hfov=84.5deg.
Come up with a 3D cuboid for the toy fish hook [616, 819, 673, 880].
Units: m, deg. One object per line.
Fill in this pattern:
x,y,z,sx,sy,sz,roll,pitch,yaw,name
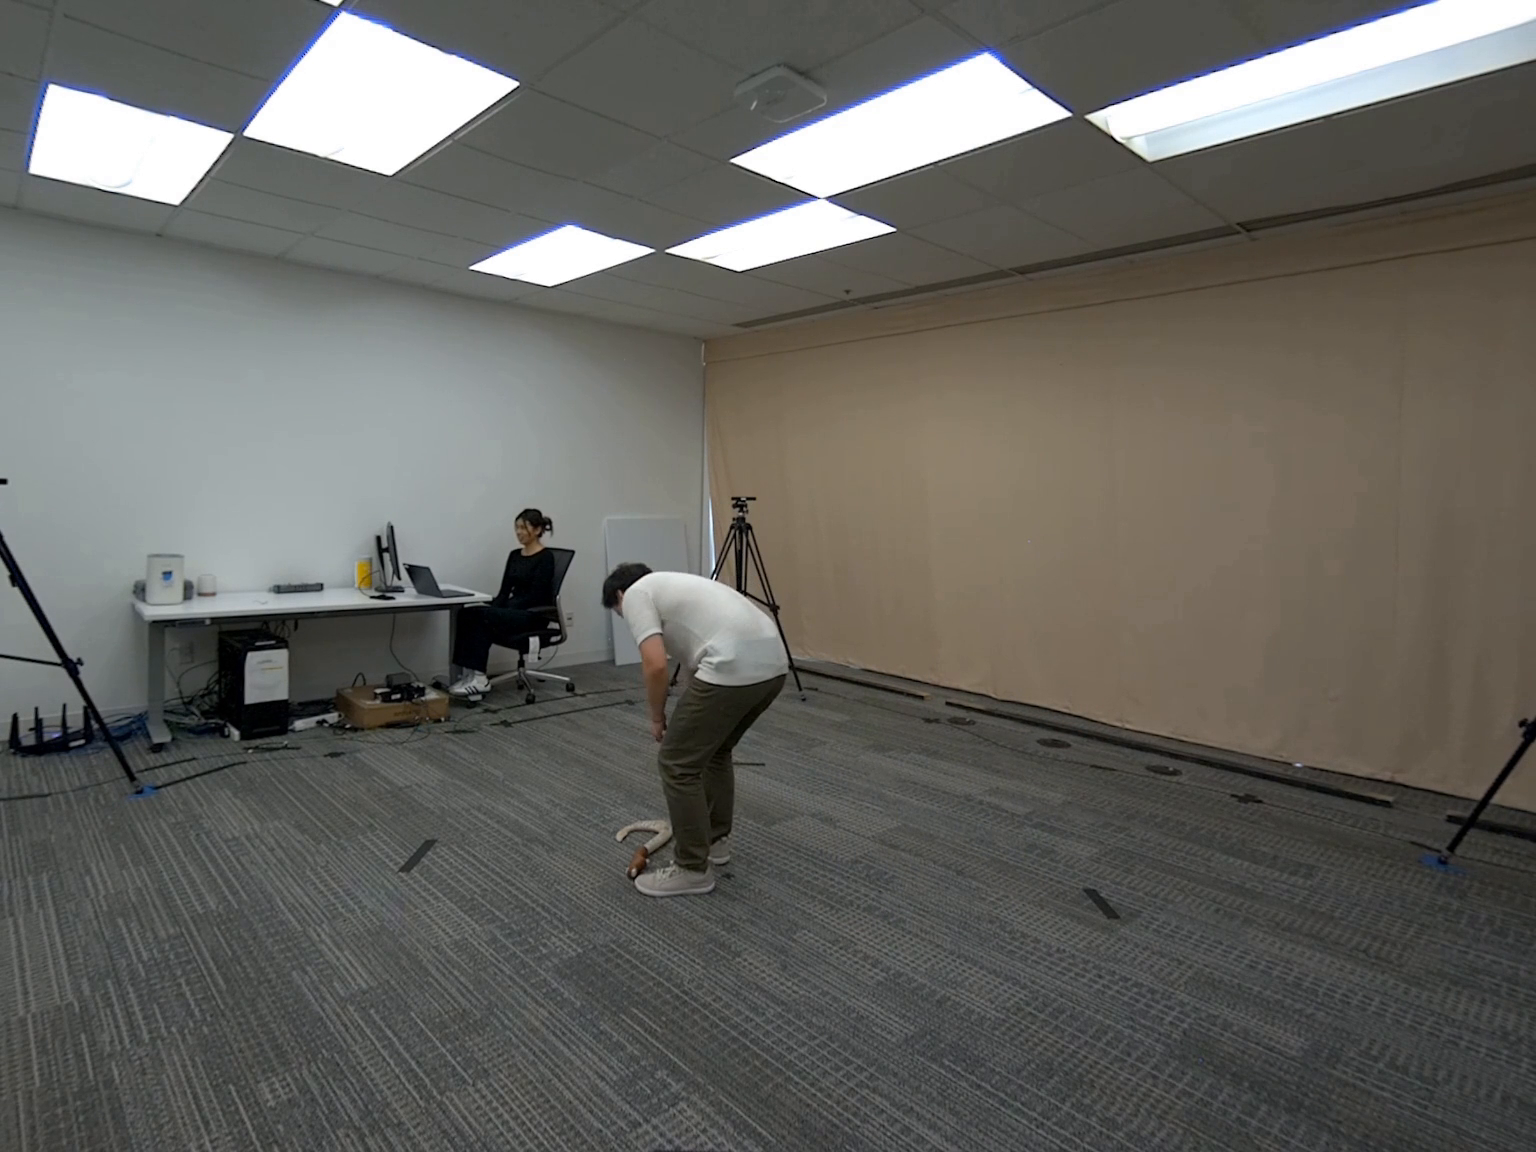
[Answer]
-0.516,1.058,3.298,0.226,0.048,0.504,-6,3,7,toy fish hook
